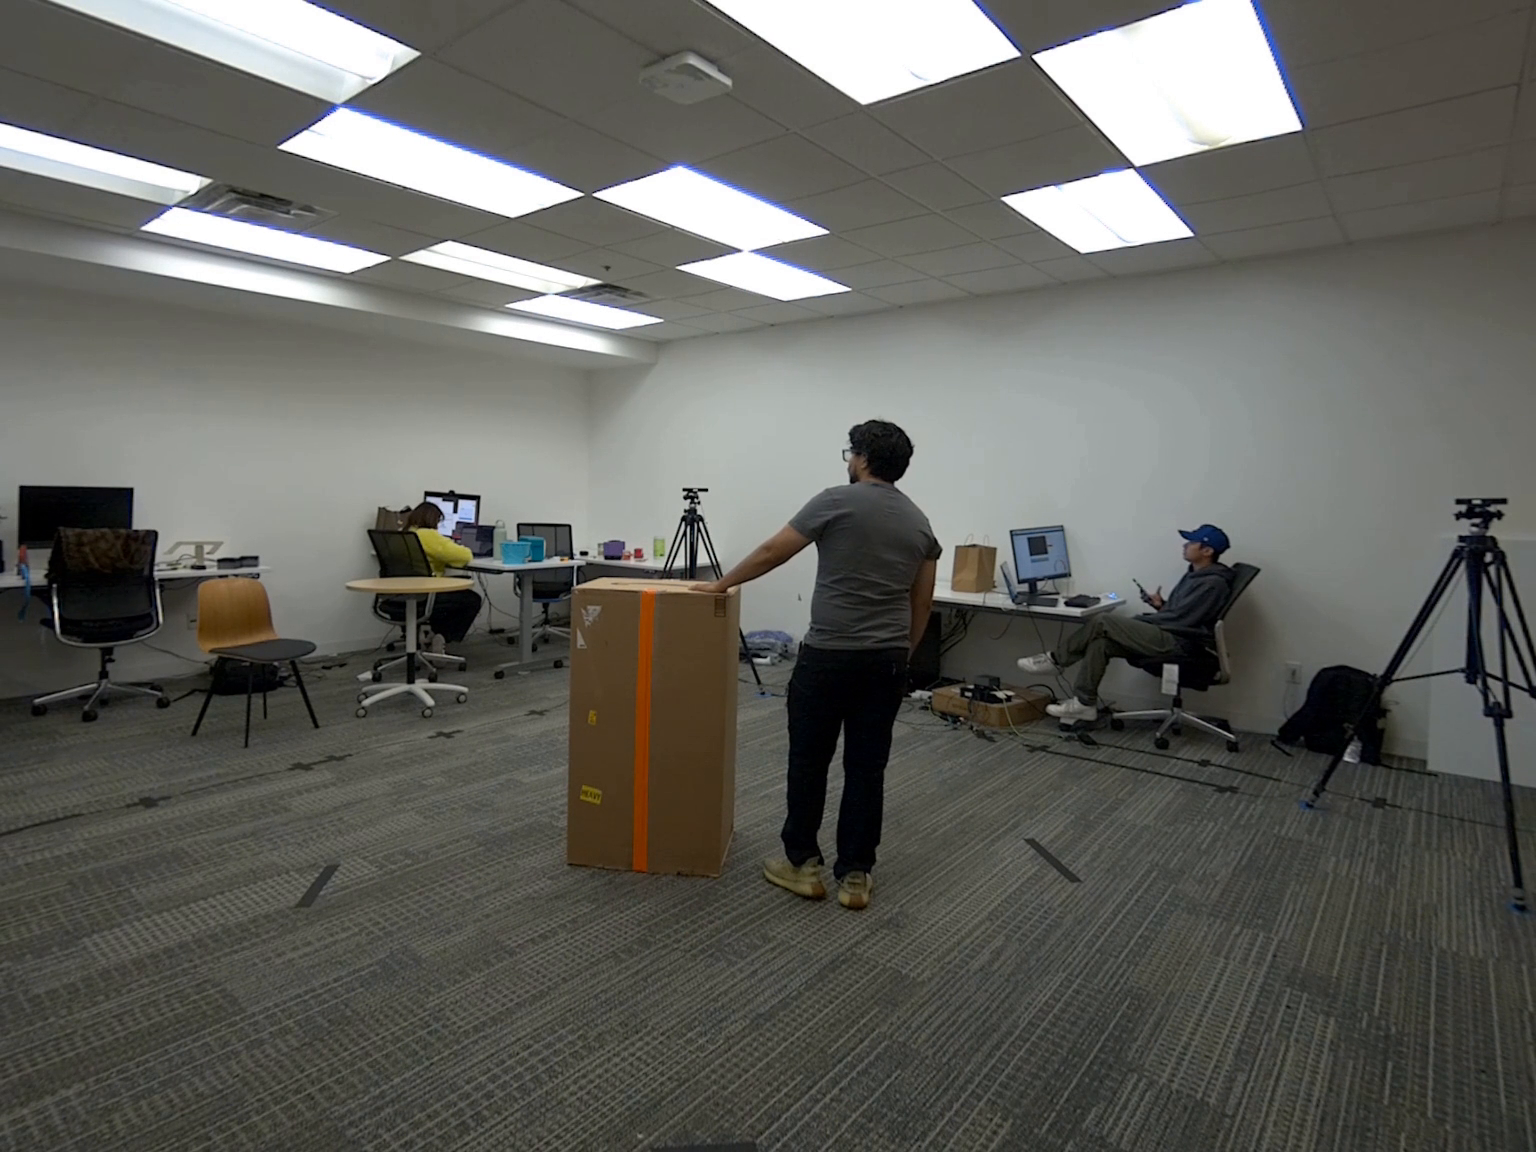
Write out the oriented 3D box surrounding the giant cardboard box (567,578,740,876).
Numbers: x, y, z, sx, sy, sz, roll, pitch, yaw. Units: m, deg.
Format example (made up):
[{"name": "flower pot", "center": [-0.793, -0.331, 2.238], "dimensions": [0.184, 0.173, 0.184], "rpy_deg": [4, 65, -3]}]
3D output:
[{"name": "giant cardboard box", "center": [-0.437, 0.540, 3.267], "dimensions": [0.583, 1.023, 0.423], "rpy_deg": [2, 3, 7]}]
